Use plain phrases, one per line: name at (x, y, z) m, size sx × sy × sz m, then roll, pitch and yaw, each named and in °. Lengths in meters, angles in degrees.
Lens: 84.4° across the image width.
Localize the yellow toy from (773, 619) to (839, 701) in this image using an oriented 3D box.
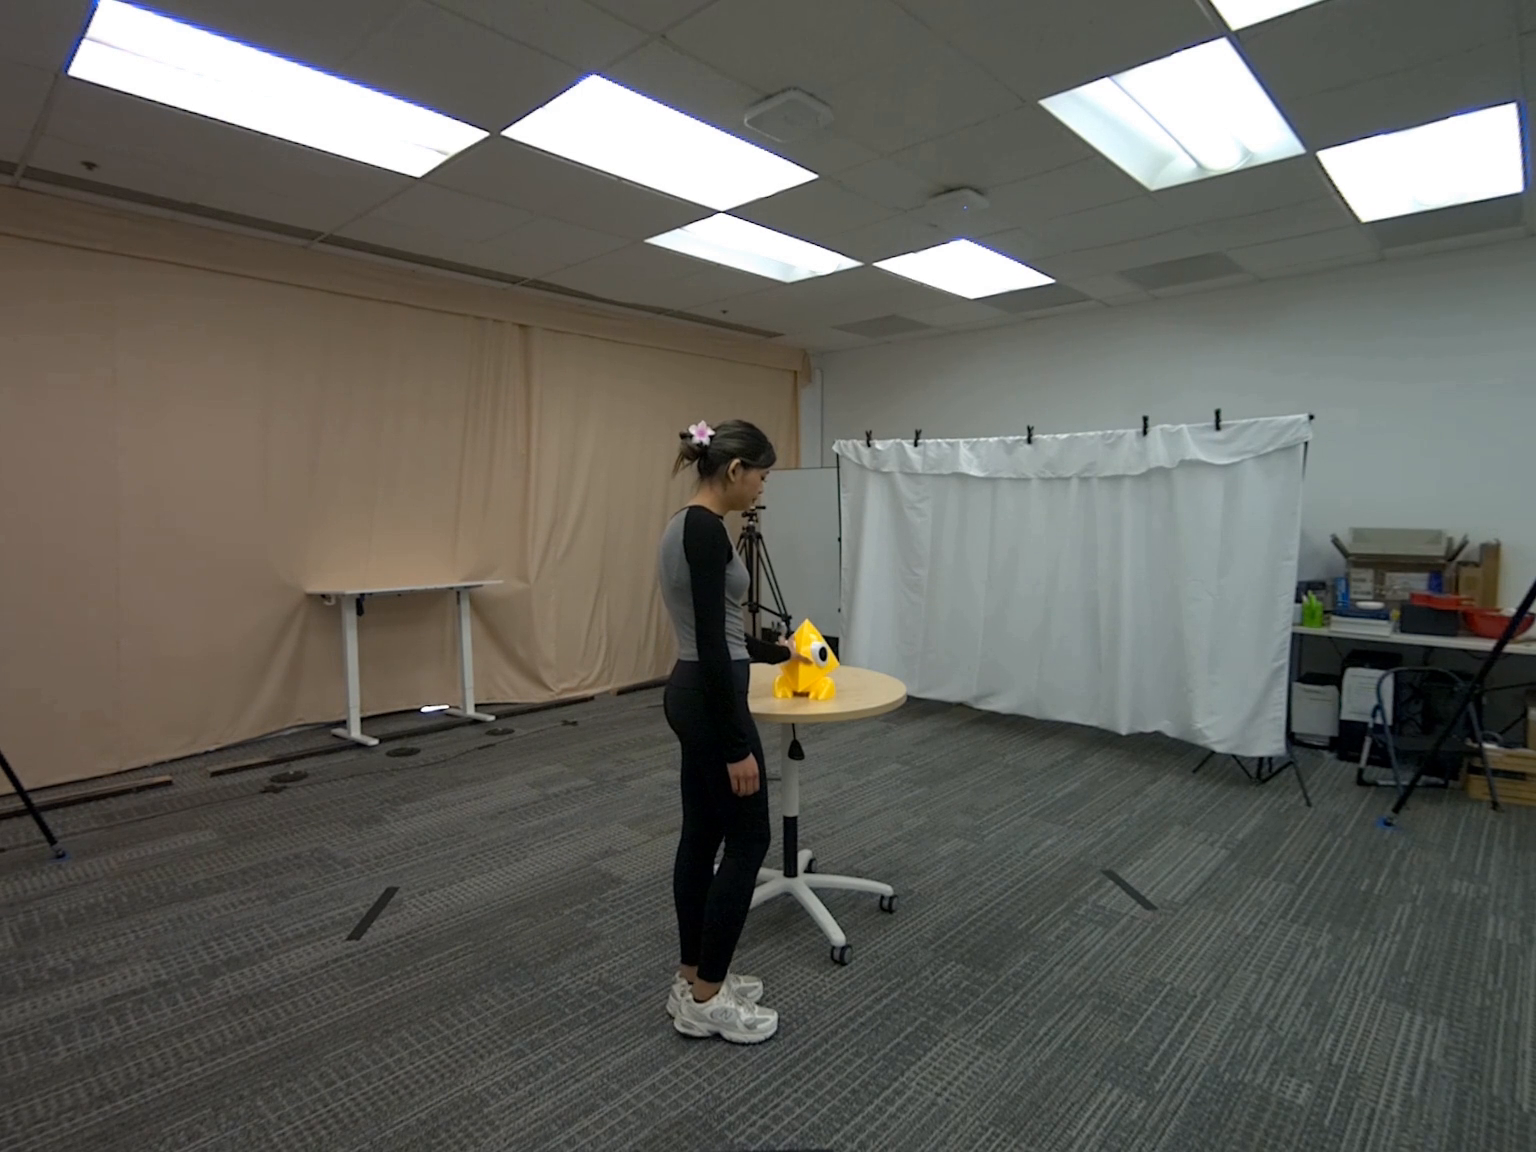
yellow toy at (0.119, 0.261, 2.691) m, size 0.208 × 0.230 × 0.190 m, roll 0°, pitch 4°, yaw 15°
